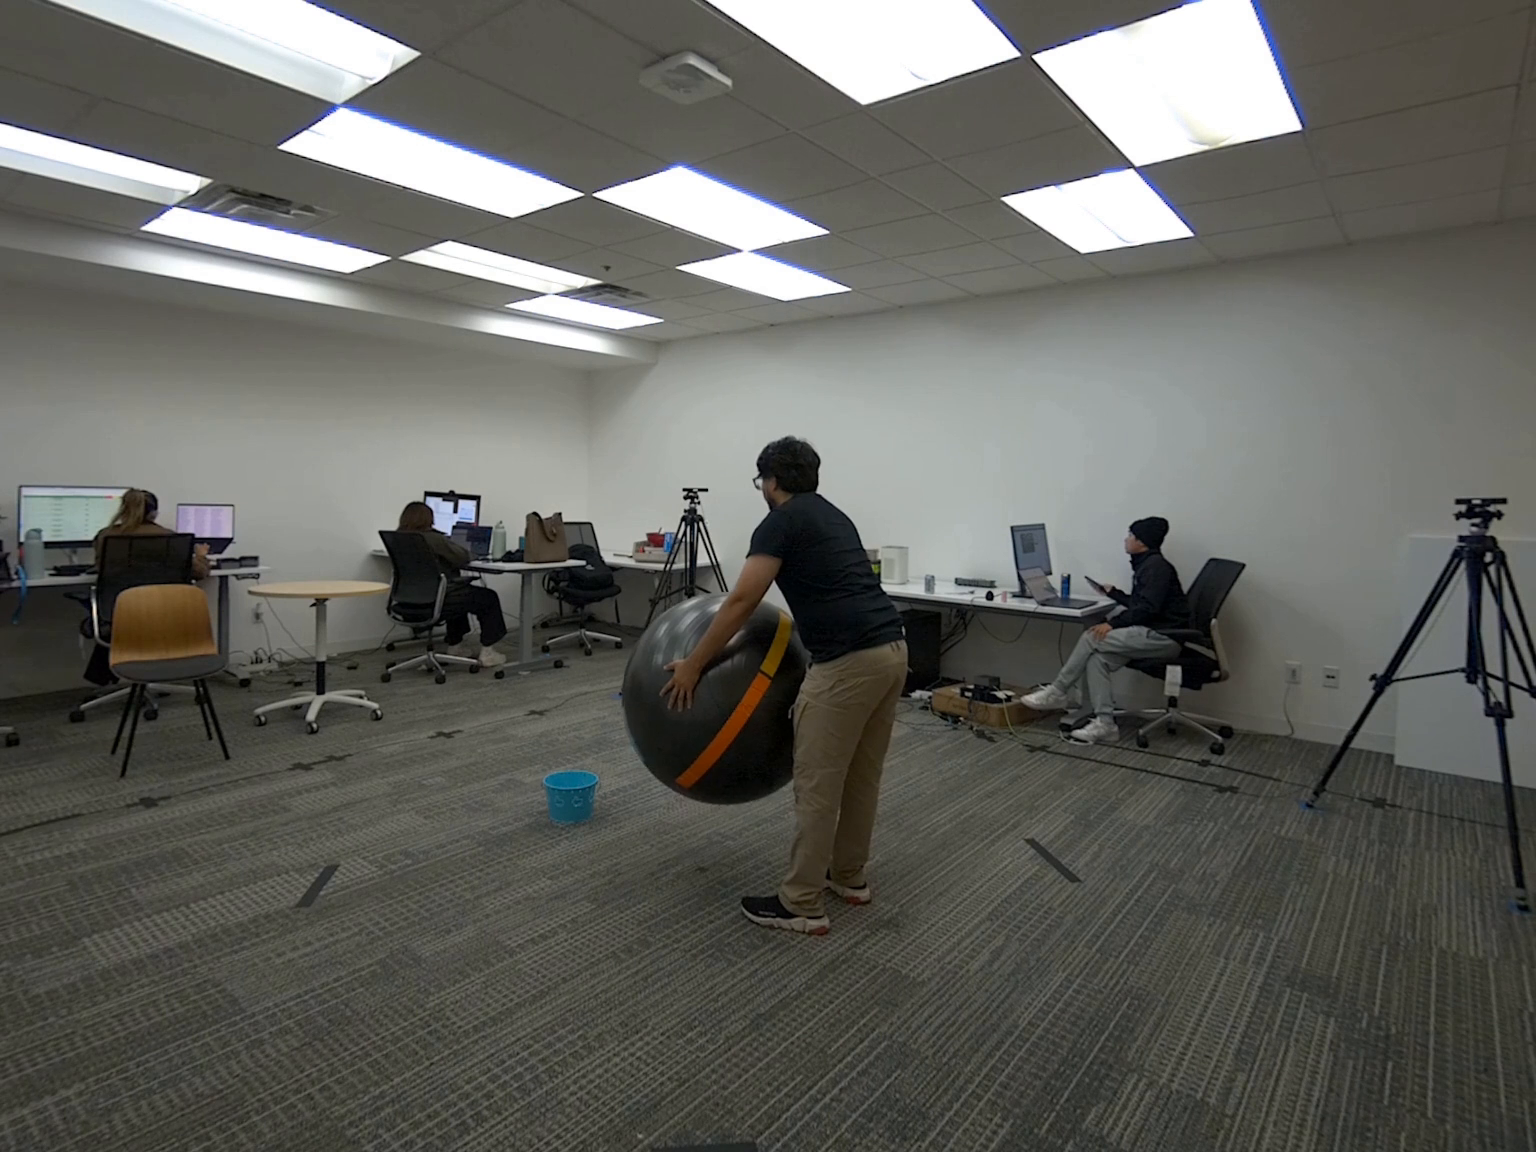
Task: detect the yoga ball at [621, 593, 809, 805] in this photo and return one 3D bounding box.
[{"bbox_3d":[-0.167,0.444,3.117,0.757,0.756,0.762,1,4,-2],"label":"yoga ball"}]
